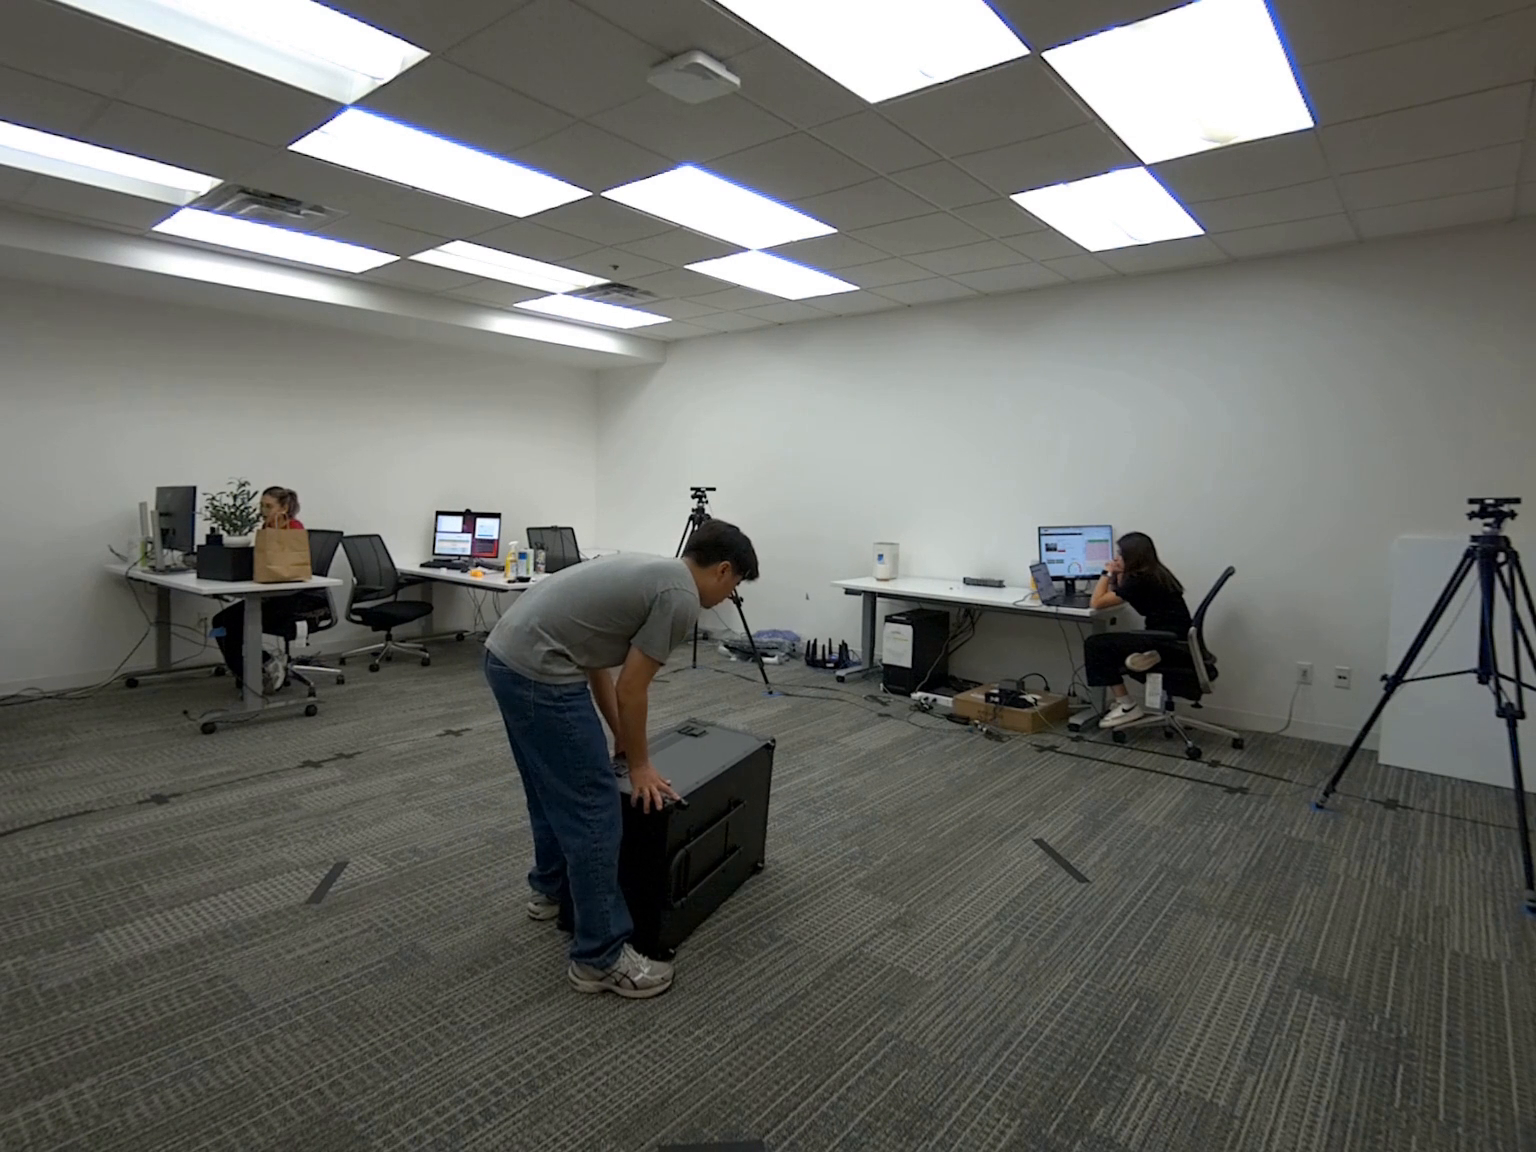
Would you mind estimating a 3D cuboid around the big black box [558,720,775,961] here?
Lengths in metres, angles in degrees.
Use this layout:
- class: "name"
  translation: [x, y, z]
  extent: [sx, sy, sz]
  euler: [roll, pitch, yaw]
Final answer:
- class: "big black box"
  translation: [-0.283, 0.827, 2.880]
  extent: [0.406, 0.519, 0.844]
  euler: [7, 7, 22]
